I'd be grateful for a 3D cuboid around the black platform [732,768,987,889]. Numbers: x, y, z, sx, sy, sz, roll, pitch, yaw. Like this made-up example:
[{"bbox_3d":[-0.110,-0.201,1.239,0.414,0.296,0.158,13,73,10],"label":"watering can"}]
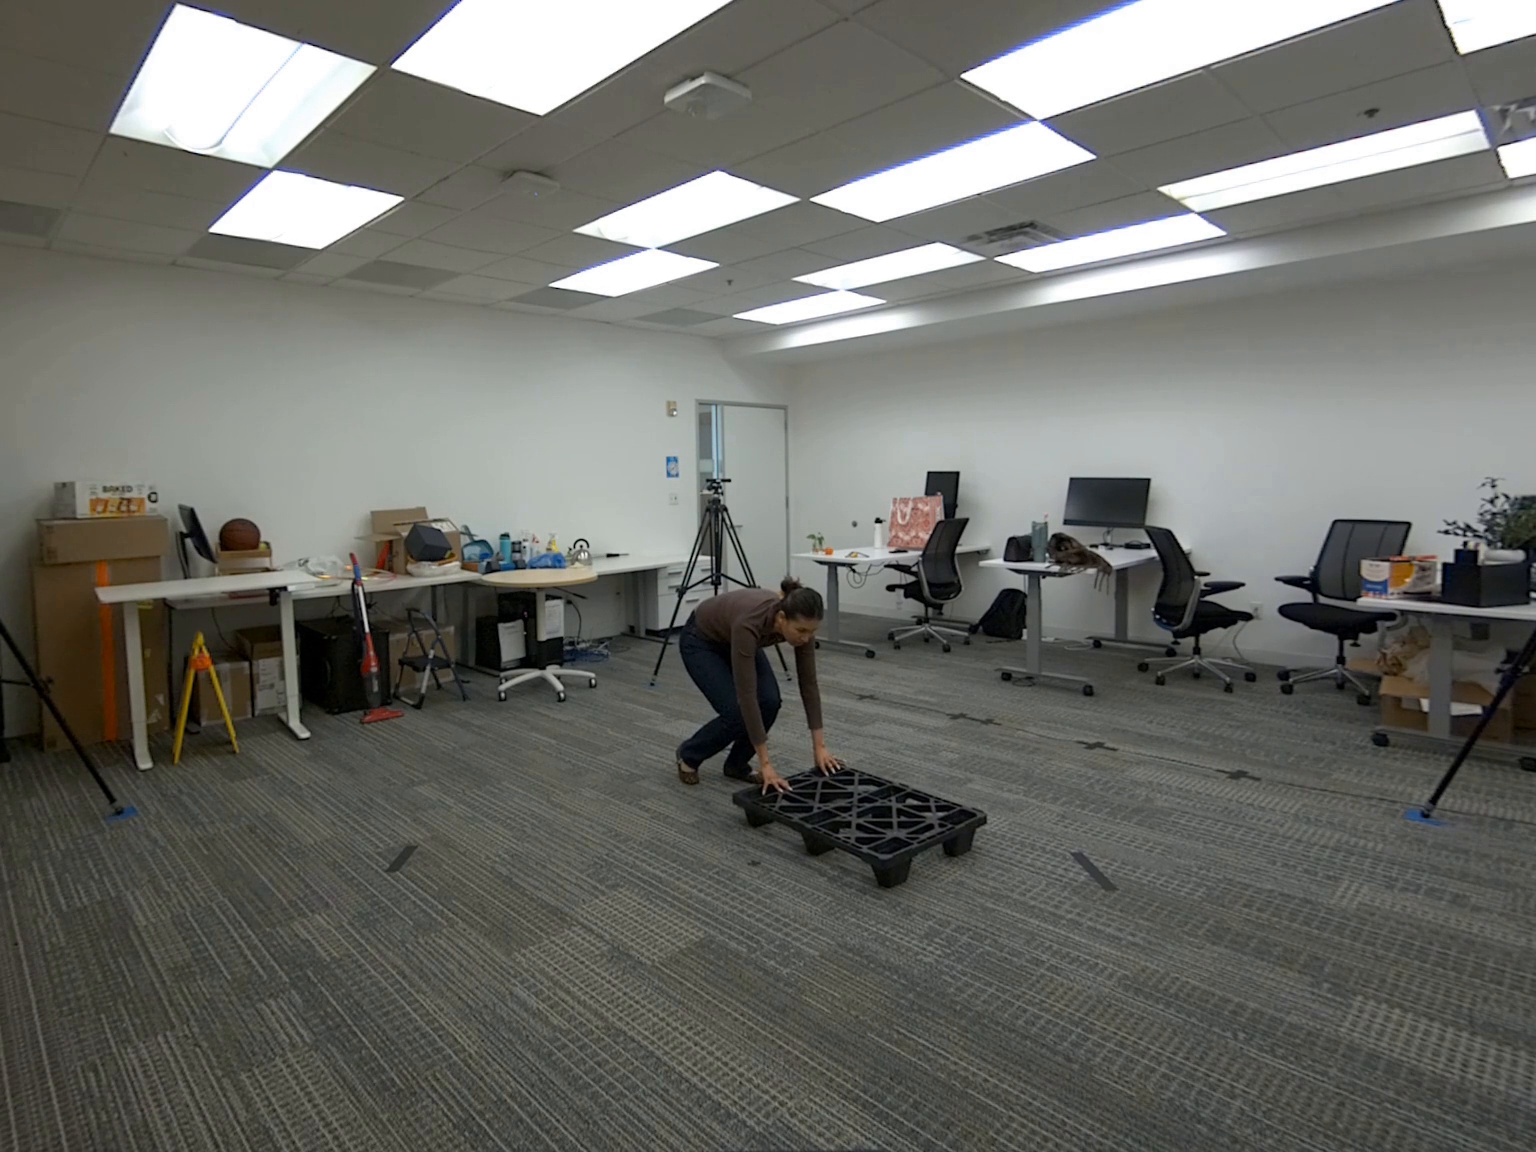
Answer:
[{"bbox_3d":[0.338,0.945,3.320,0.589,0.143,0.831,-6,8,-40],"label":"black platform"}]
